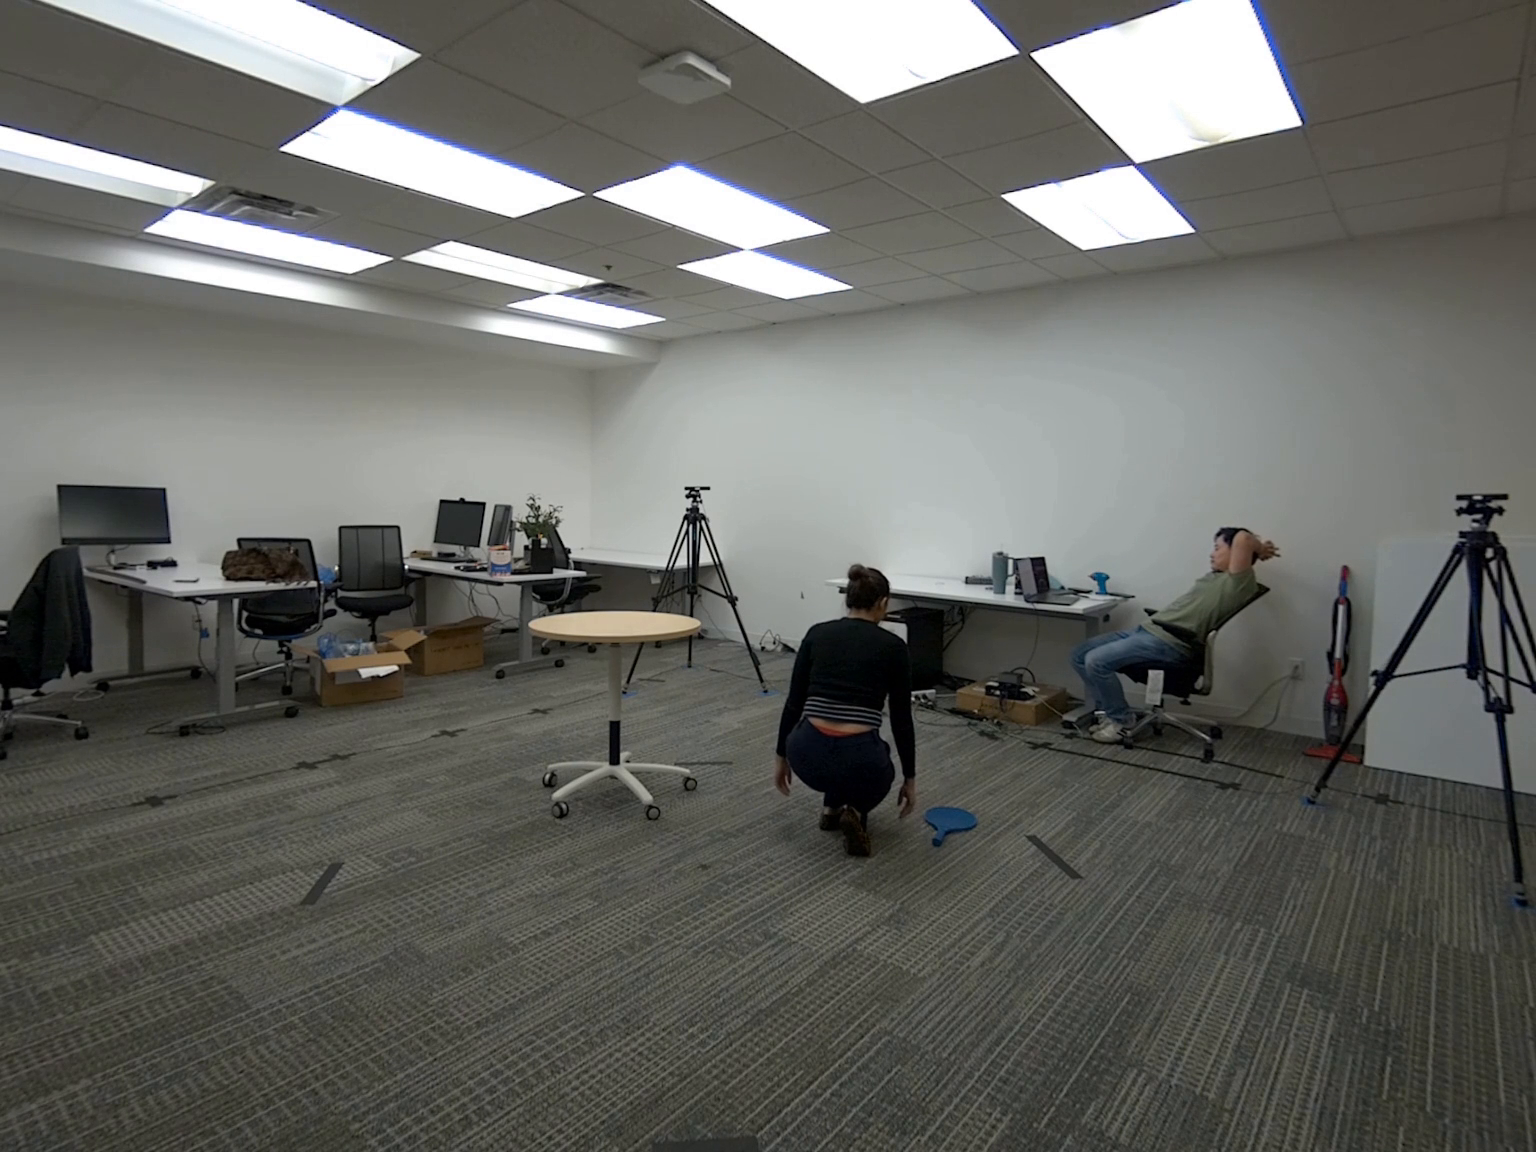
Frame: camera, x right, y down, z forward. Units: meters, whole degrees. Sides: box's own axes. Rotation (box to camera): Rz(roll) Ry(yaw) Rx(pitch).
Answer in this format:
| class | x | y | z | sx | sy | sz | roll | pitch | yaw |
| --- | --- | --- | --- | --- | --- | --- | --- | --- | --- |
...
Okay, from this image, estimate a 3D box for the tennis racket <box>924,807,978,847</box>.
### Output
| class | x | y | z | sx | sy | sz | roll | pitch | yaw |
| --- | --- | --- | --- | --- | --- | --- | --- | --- | --- |
| tennis racket | 0.735 | 1.027 | 3.527 | 0.219 | 0.031 | 0.424 | 5 | 6 | 22 |
